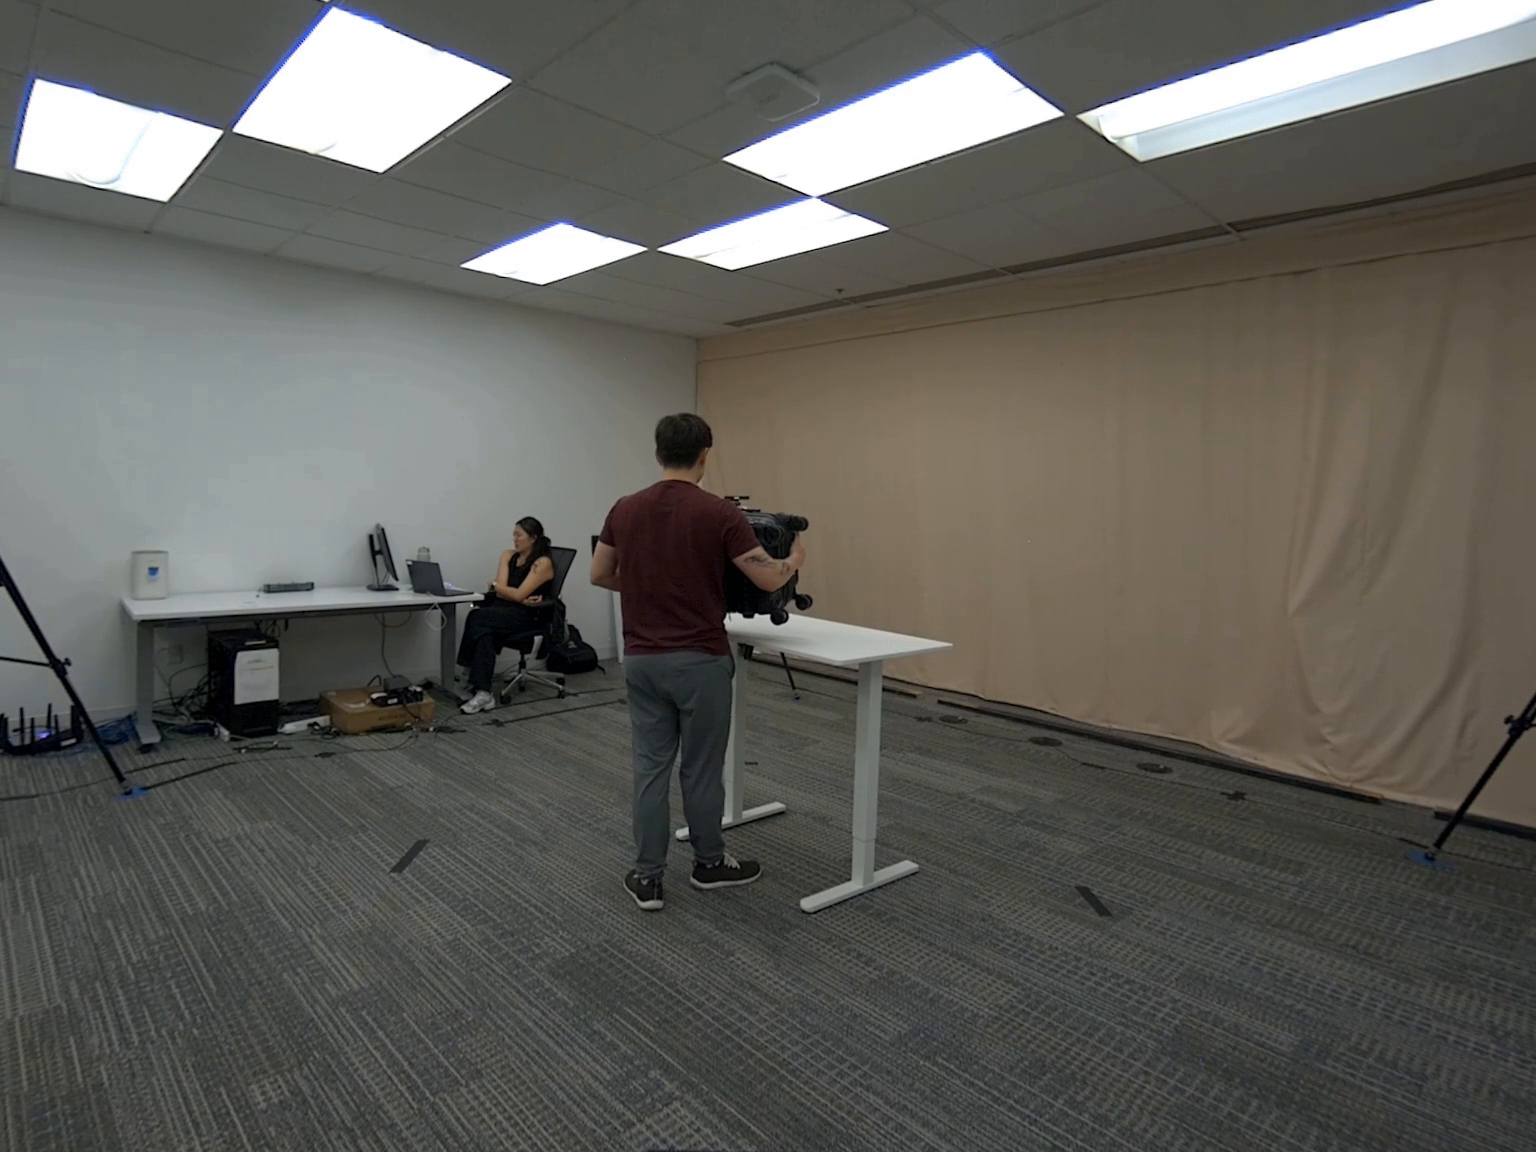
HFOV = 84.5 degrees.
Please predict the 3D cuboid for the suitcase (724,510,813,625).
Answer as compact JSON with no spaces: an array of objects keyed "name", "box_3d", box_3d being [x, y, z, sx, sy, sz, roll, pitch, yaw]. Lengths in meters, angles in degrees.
[{"name":"suitcase","box_3d":[-0.331,-0.063,3.205,0.999,0.381,0.254,3,12,28]}]
